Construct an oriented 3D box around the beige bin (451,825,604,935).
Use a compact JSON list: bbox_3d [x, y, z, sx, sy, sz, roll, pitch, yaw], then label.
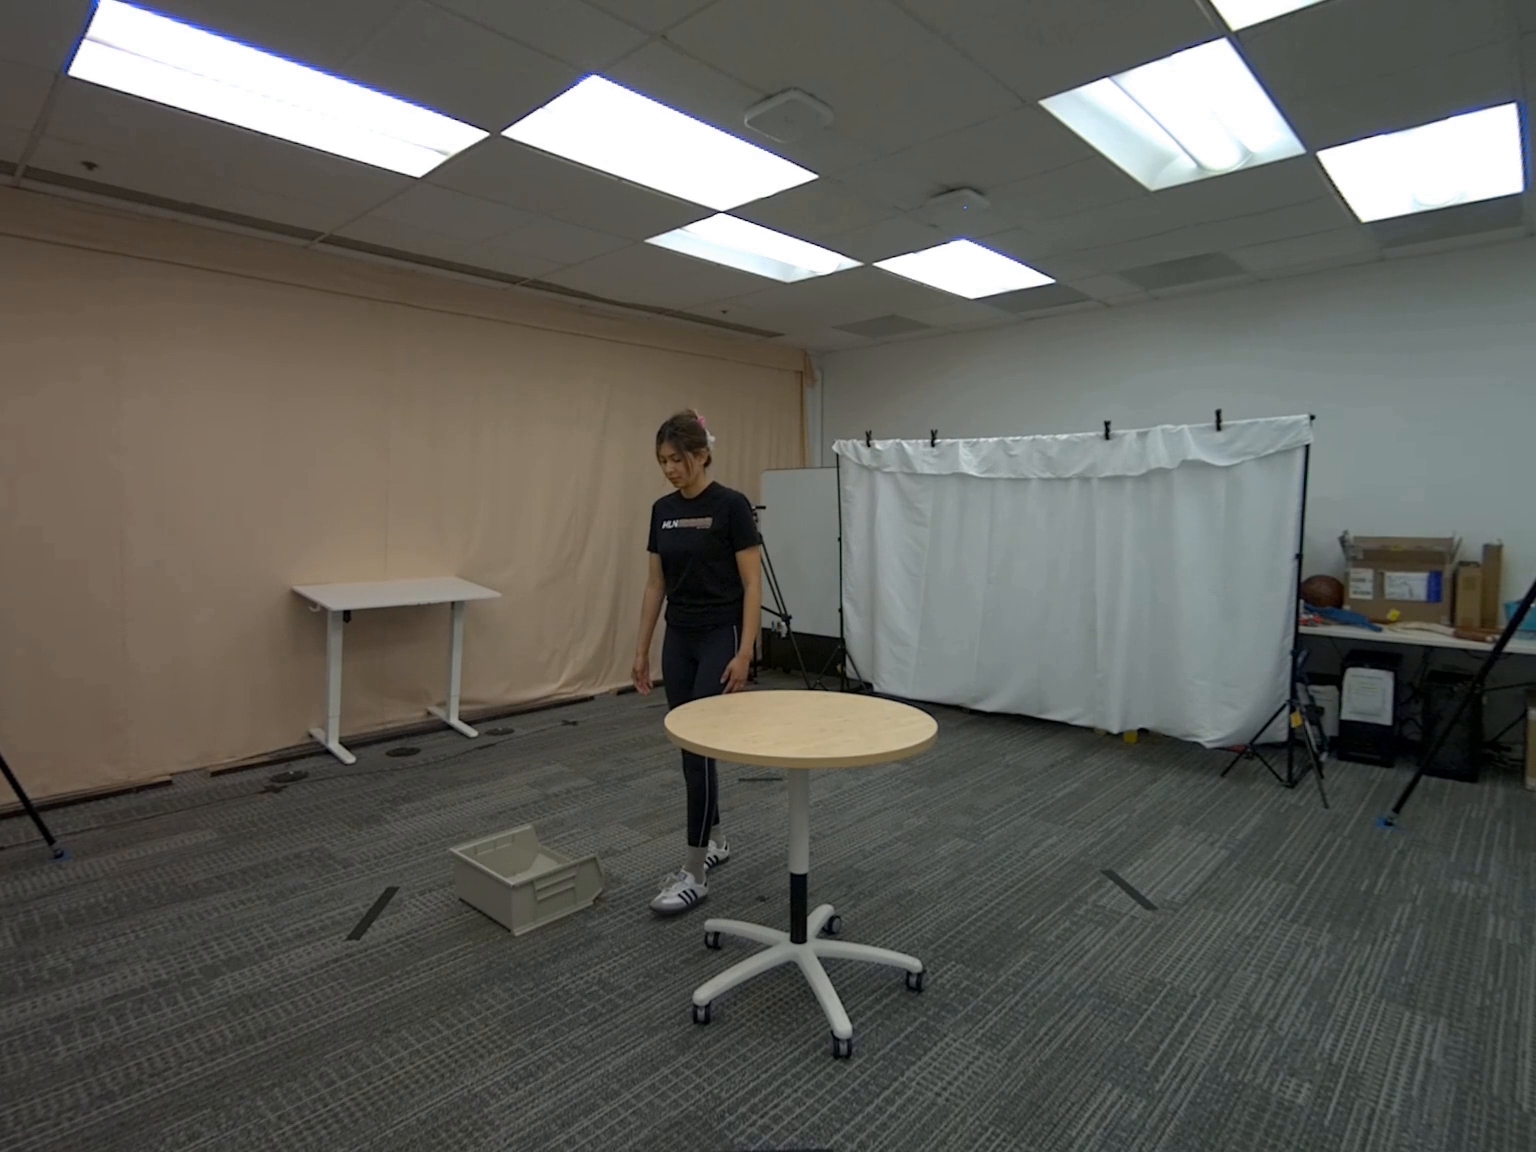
[{"bbox_3d":[-0.868,1.069,2.989,0.436,0.188,0.366,5,7,42],"label":"beige bin"}]
